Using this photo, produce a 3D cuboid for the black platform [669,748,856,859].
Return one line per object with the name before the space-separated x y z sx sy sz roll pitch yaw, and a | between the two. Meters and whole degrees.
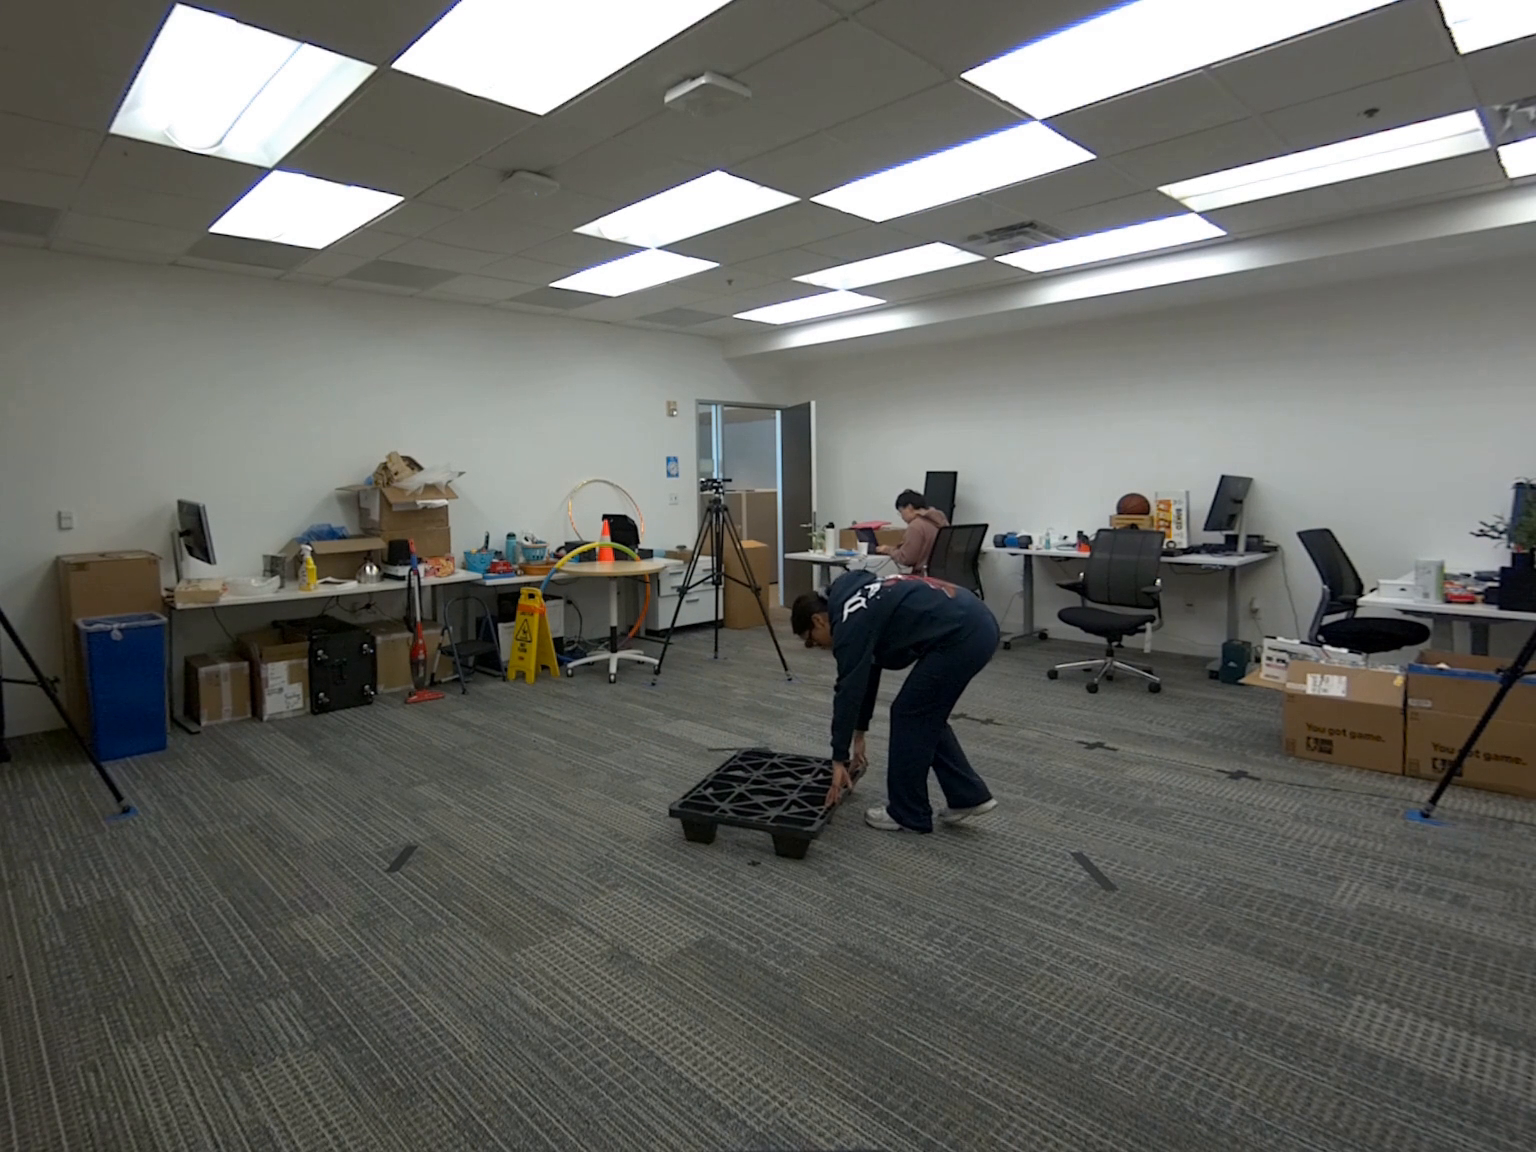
black platform | 0.032 0.923 3.549 0.618 0.142 0.793 2 7 21
